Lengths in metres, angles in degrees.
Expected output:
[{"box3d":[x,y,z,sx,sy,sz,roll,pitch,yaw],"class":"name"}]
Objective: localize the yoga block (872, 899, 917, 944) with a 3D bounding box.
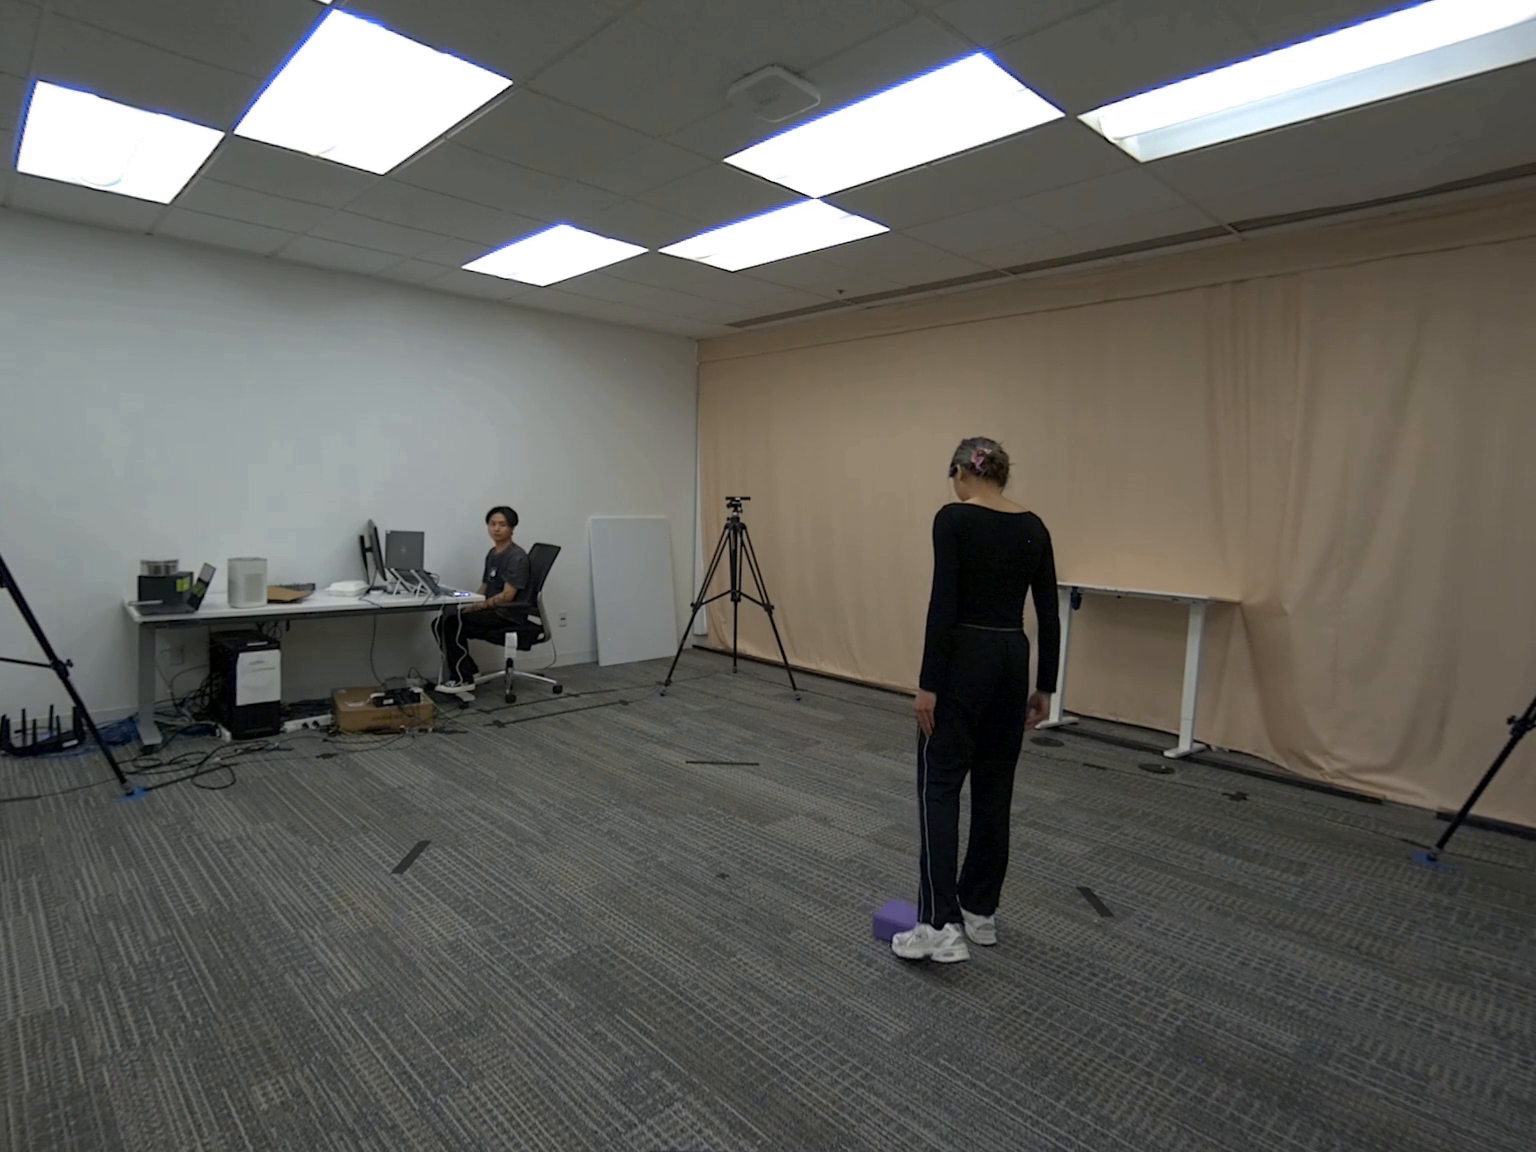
[{"box3d":[0.466,1.117,2.696,0.235,0.076,0.146,4,6,34],"class":"yoga block"}]
